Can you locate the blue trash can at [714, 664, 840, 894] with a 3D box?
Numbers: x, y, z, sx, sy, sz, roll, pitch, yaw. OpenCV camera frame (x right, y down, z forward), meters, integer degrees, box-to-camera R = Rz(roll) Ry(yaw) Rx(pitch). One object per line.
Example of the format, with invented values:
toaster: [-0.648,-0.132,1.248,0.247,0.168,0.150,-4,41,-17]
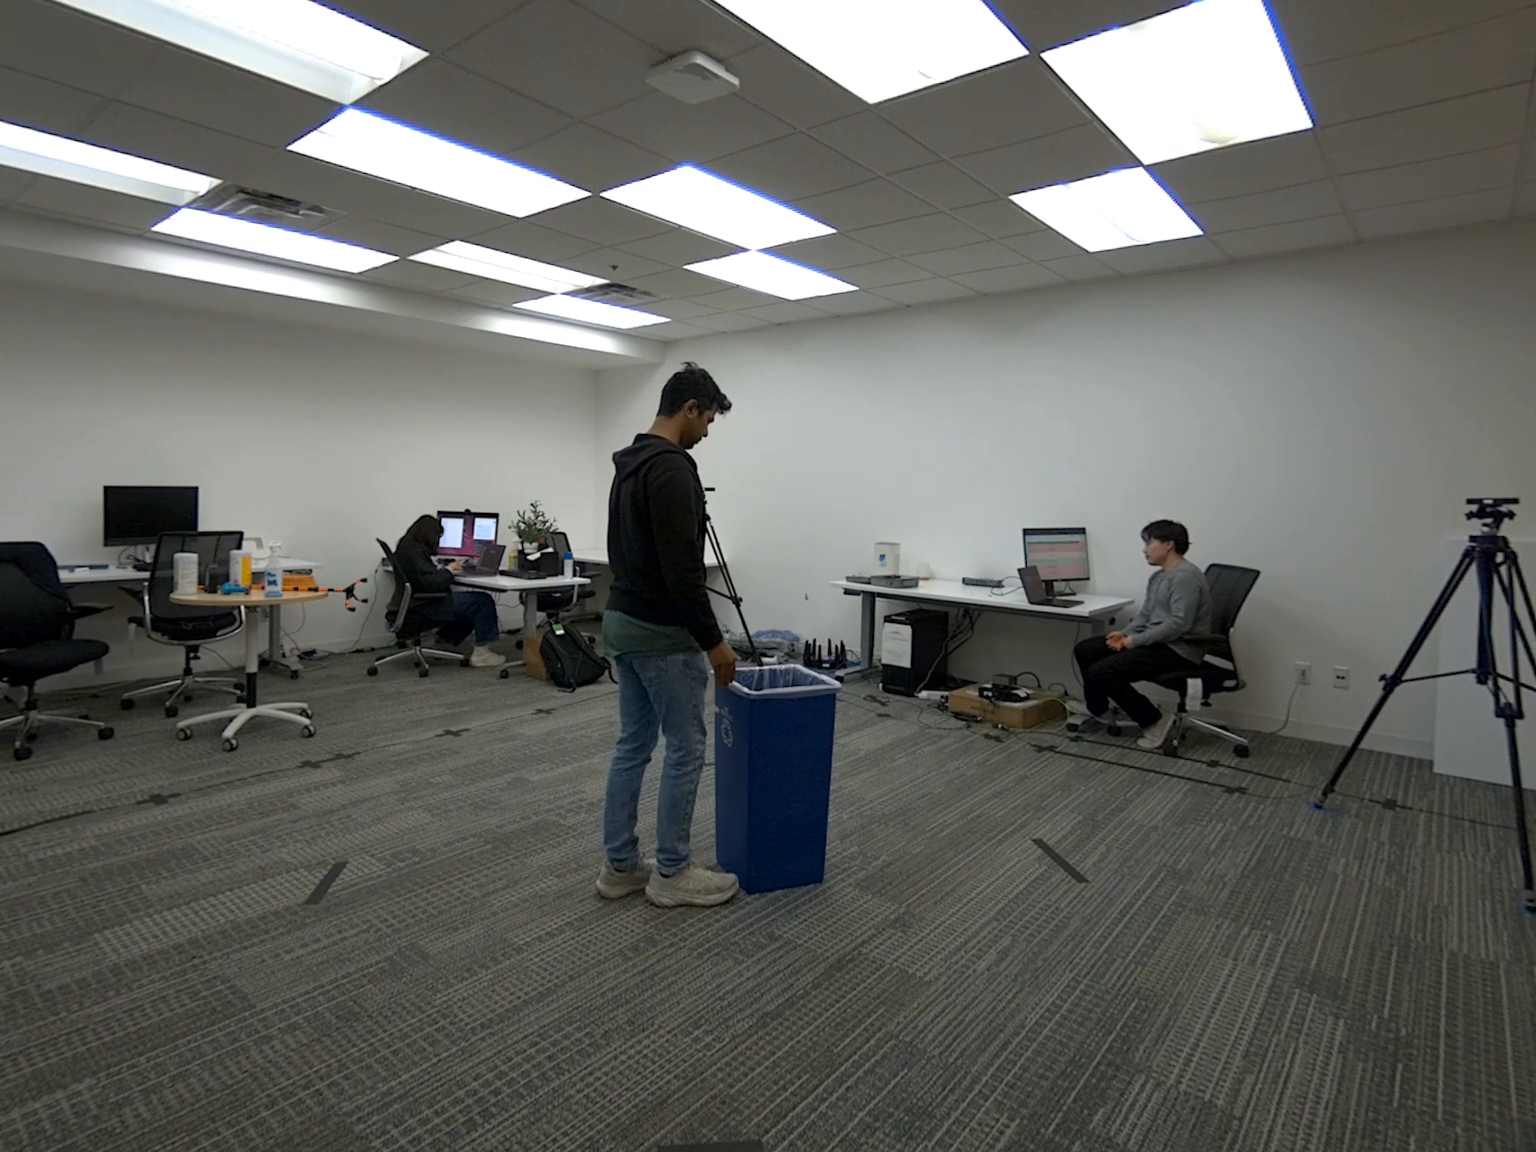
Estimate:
blue trash can: [0.009,0.714,3.078,0.369,0.711,0.384,-1,4,-25]
